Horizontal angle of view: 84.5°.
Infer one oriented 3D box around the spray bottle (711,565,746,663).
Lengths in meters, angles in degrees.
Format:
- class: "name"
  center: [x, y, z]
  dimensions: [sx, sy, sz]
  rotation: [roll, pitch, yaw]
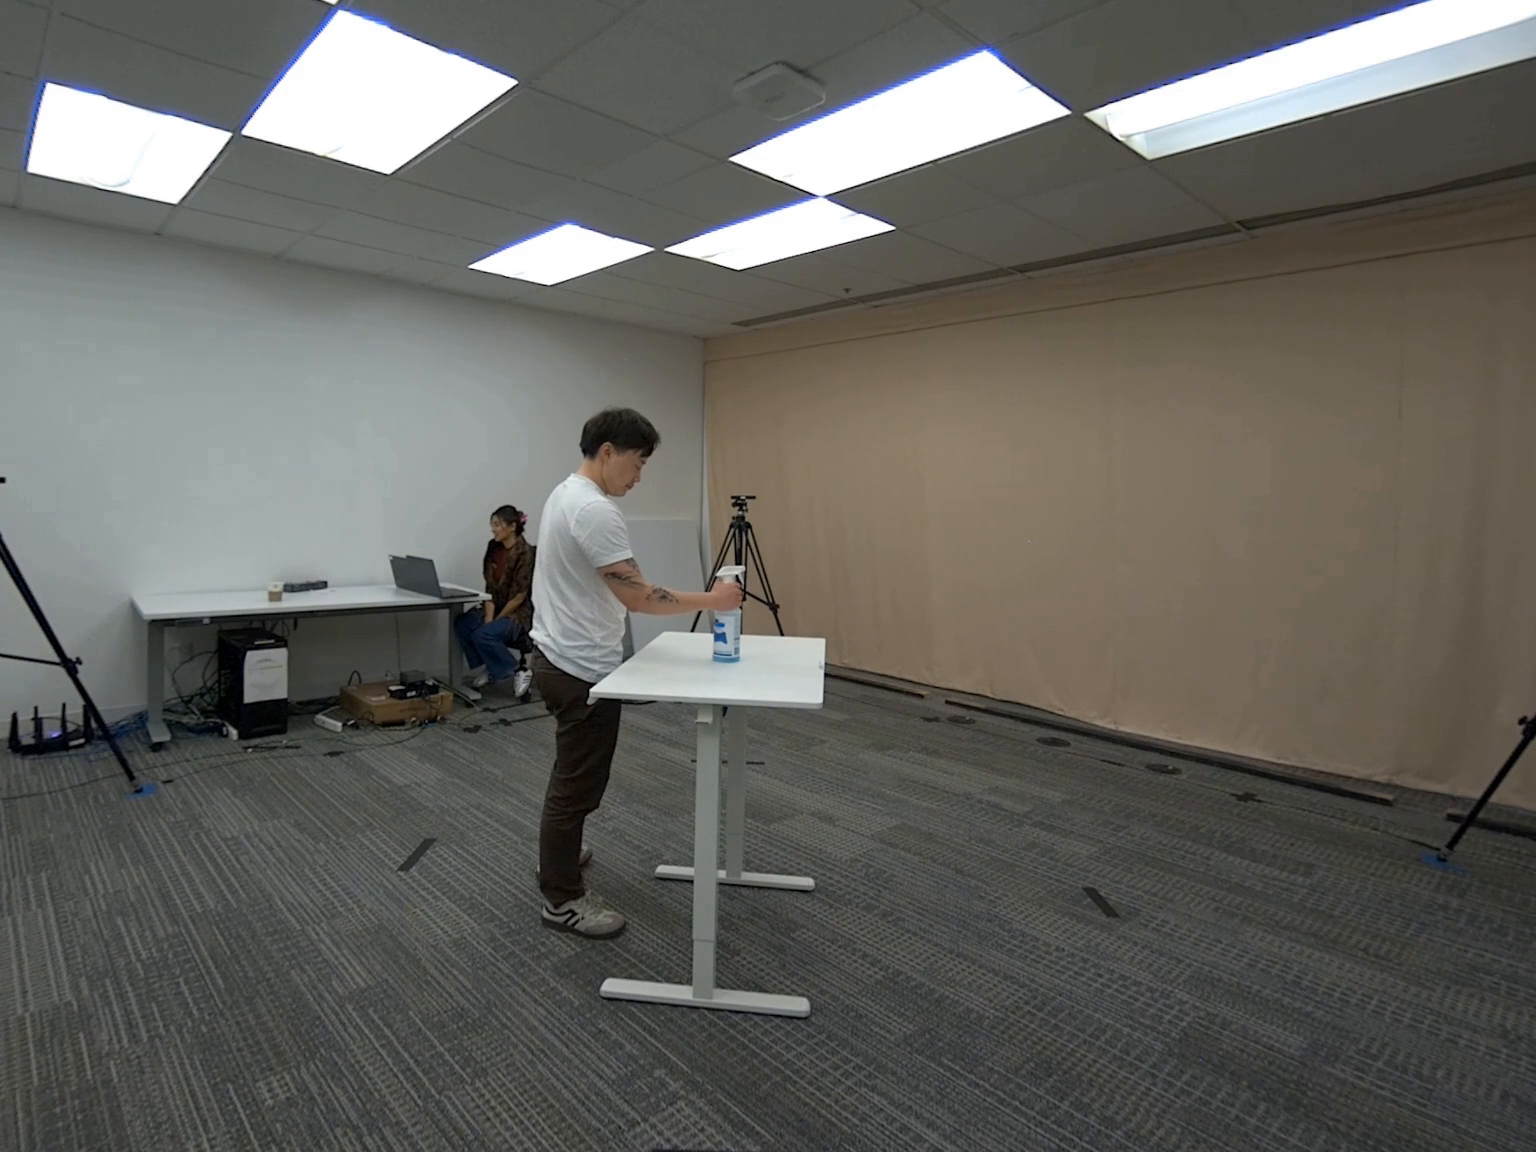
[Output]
- class: "spray bottle"
  center: [-0.128, 0.118, 2.613]
  dimensions: [0.091, 0.296, 0.086]
  rotation: [4, 5, 10]
